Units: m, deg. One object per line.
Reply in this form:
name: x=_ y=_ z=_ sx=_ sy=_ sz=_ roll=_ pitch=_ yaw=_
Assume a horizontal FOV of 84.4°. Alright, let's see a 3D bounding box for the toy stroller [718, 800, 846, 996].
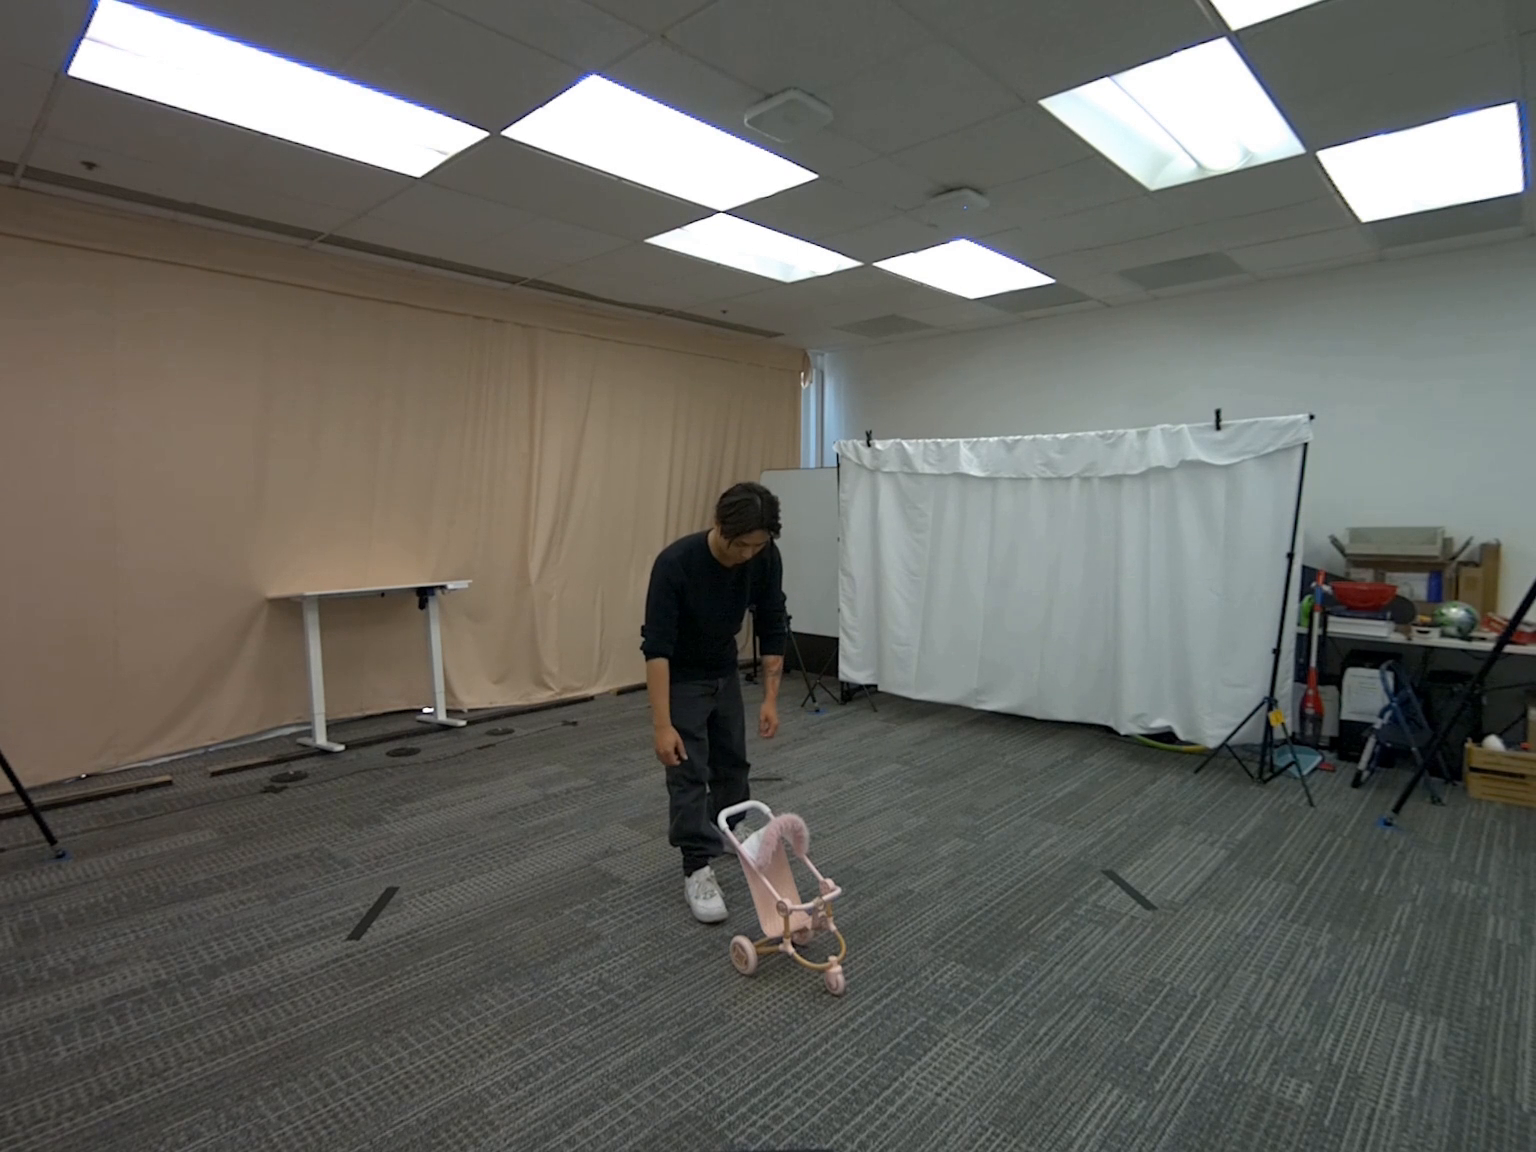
toy stroller: x=0.063 y=0.956 z=2.530 sx=0.273 sy=0.539 sz=0.349 roll=-3 pitch=-11 yaw=-39
